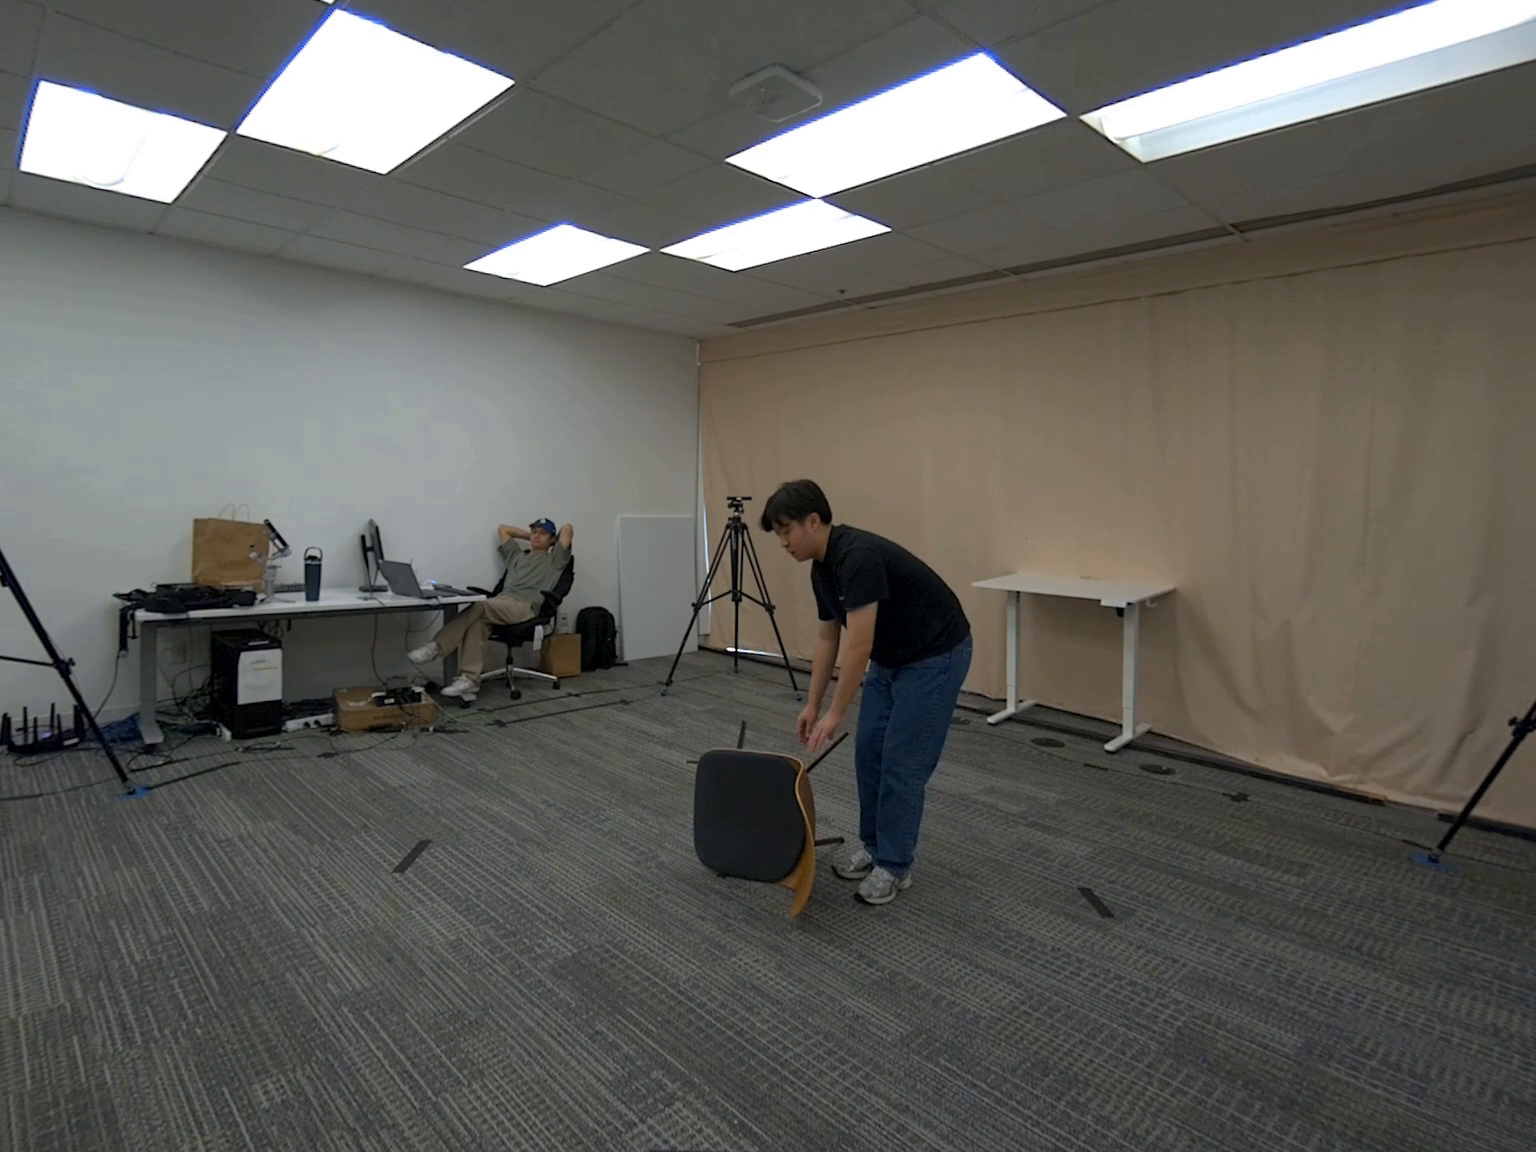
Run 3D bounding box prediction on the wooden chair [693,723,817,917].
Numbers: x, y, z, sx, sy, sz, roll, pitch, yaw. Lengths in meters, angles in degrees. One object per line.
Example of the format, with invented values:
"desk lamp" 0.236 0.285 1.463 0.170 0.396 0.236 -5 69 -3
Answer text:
"wooden chair" -0.022 0.874 3.103 0.529 0.477 0.870 3 5 13
